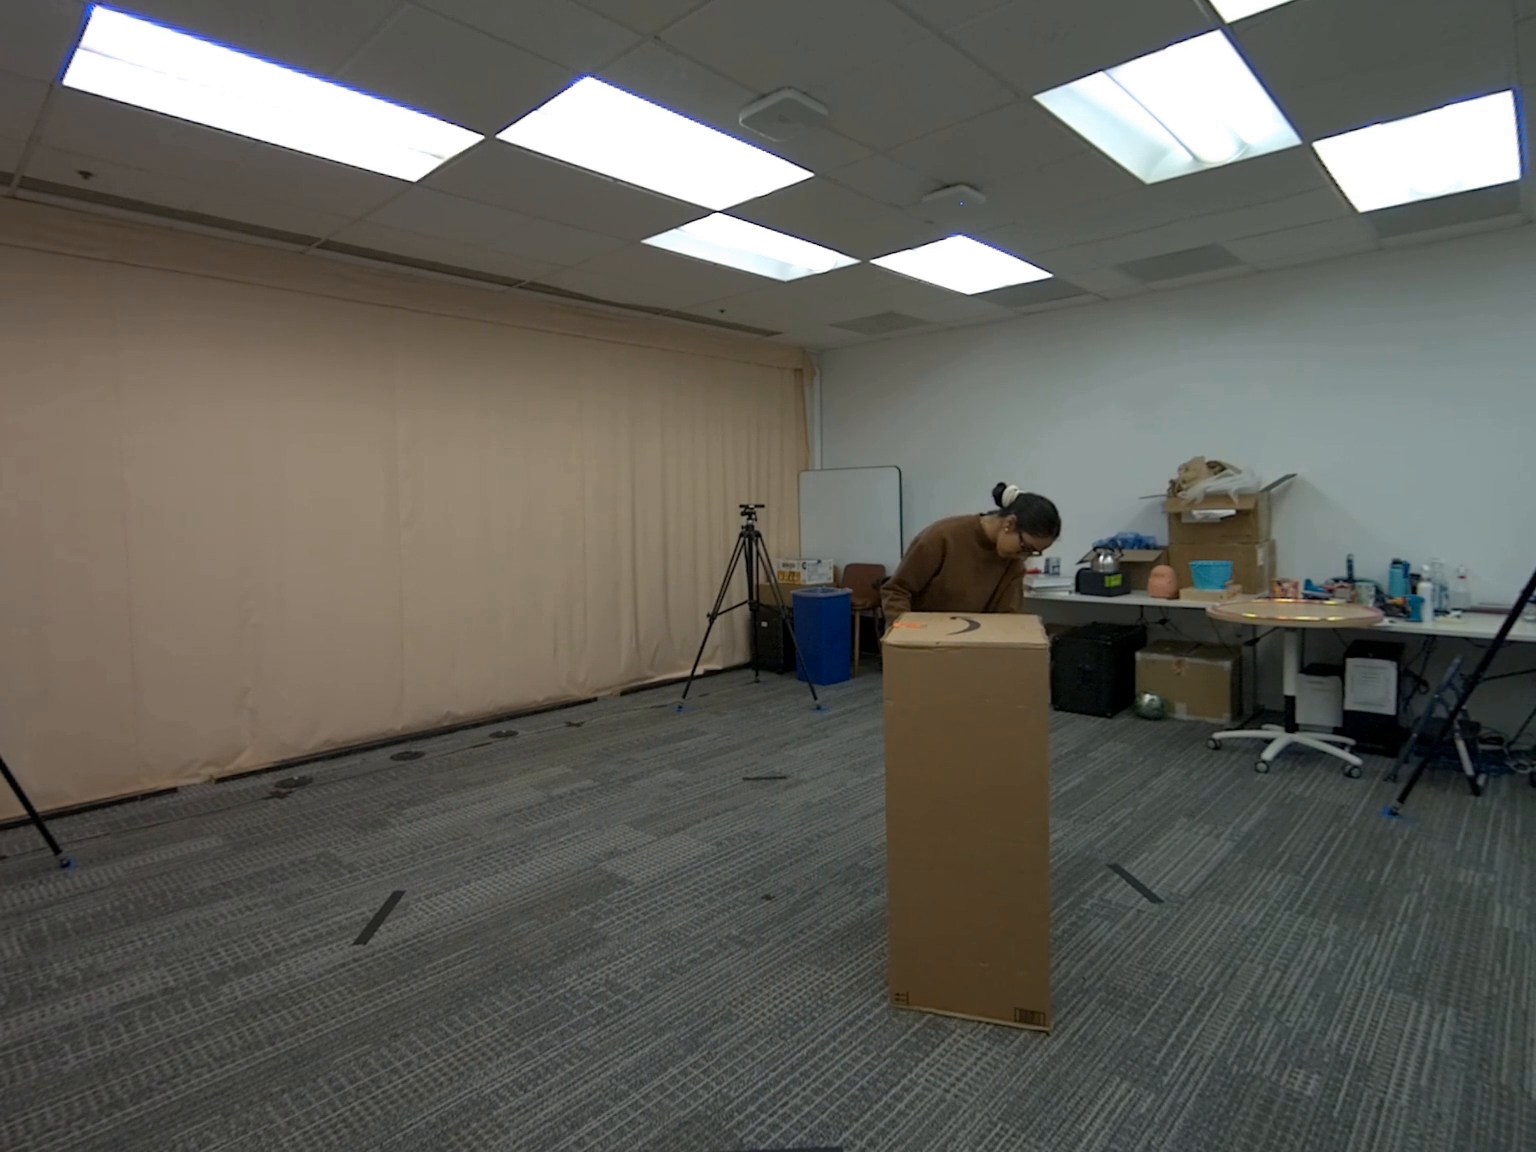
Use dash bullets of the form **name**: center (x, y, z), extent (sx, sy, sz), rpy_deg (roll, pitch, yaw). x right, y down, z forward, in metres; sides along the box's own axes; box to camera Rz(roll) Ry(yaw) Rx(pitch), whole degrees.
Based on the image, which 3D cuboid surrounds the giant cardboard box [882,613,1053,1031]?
- **giant cardboard box**: center (0.594, 0.661, 2.499), extent (0.434, 1.024, 0.568), rpy_deg (-1, 3, 17)
